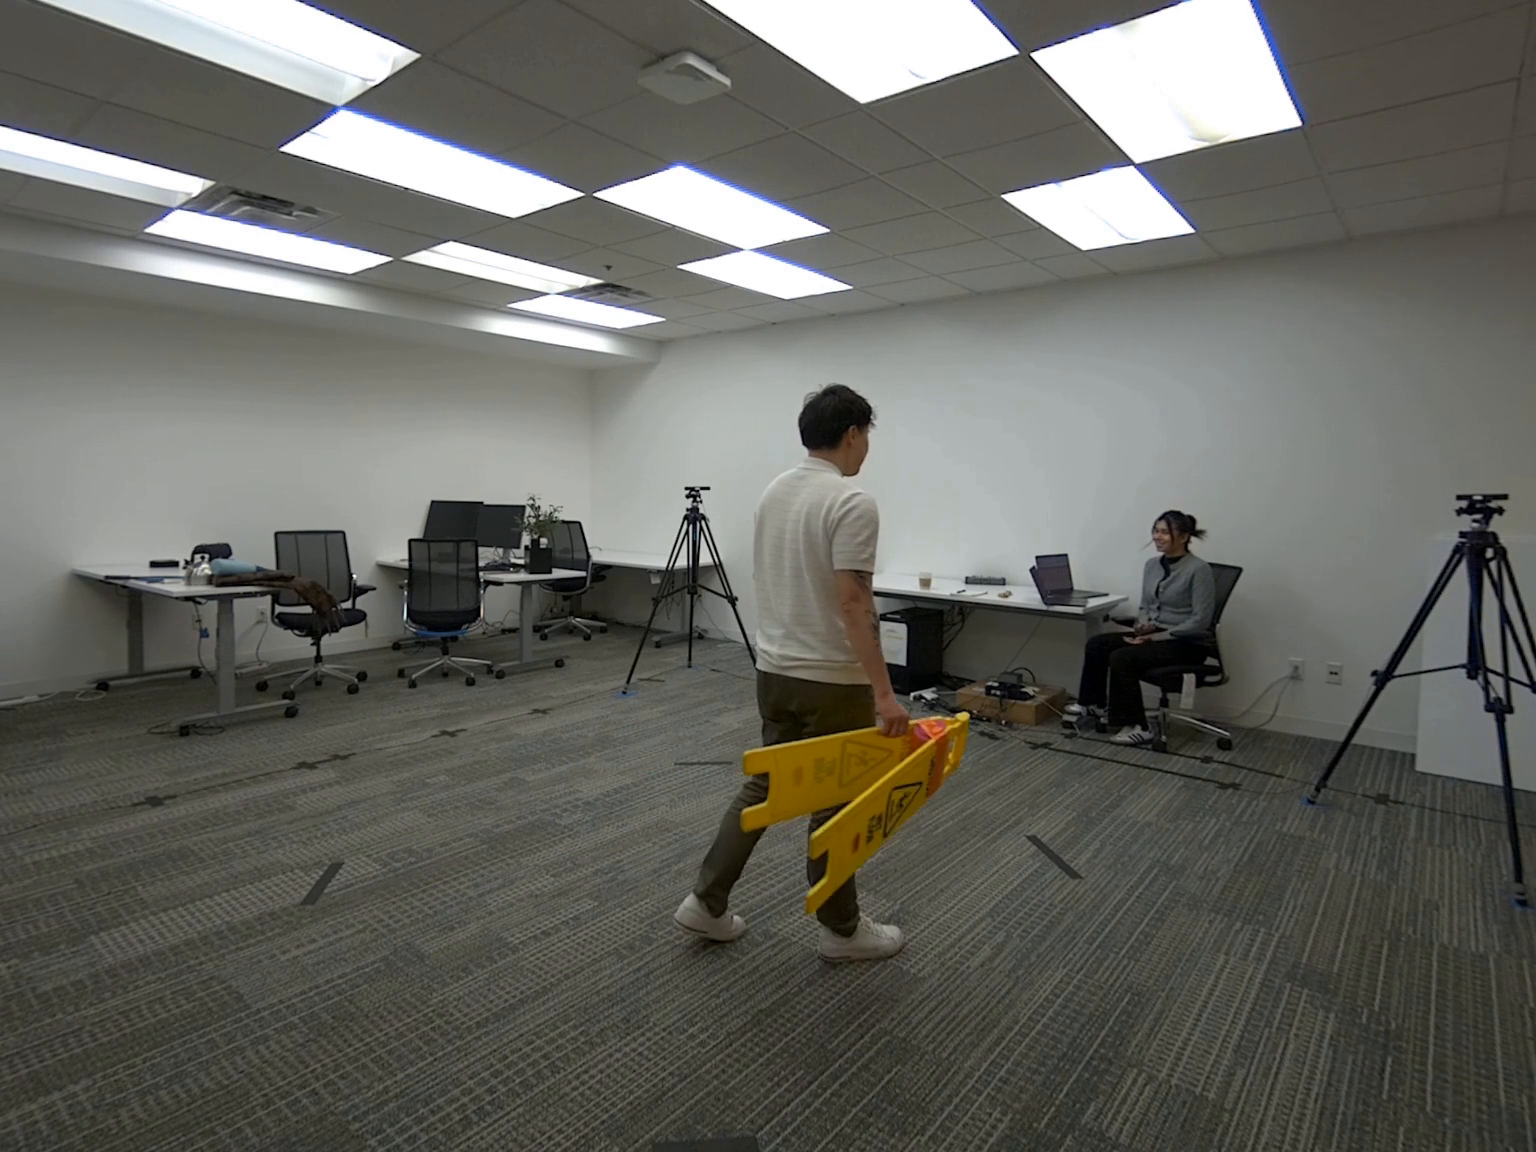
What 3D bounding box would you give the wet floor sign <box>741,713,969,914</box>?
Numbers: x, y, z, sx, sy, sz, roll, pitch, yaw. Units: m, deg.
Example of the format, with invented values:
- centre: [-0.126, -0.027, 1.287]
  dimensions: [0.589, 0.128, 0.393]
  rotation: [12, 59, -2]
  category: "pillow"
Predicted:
- centre: [0.271, 0.540, 2.245]
  dimensions: [0.635, 0.275, 0.302]
  rotation: [-19, 37, -26]
  category: "wet floor sign"
